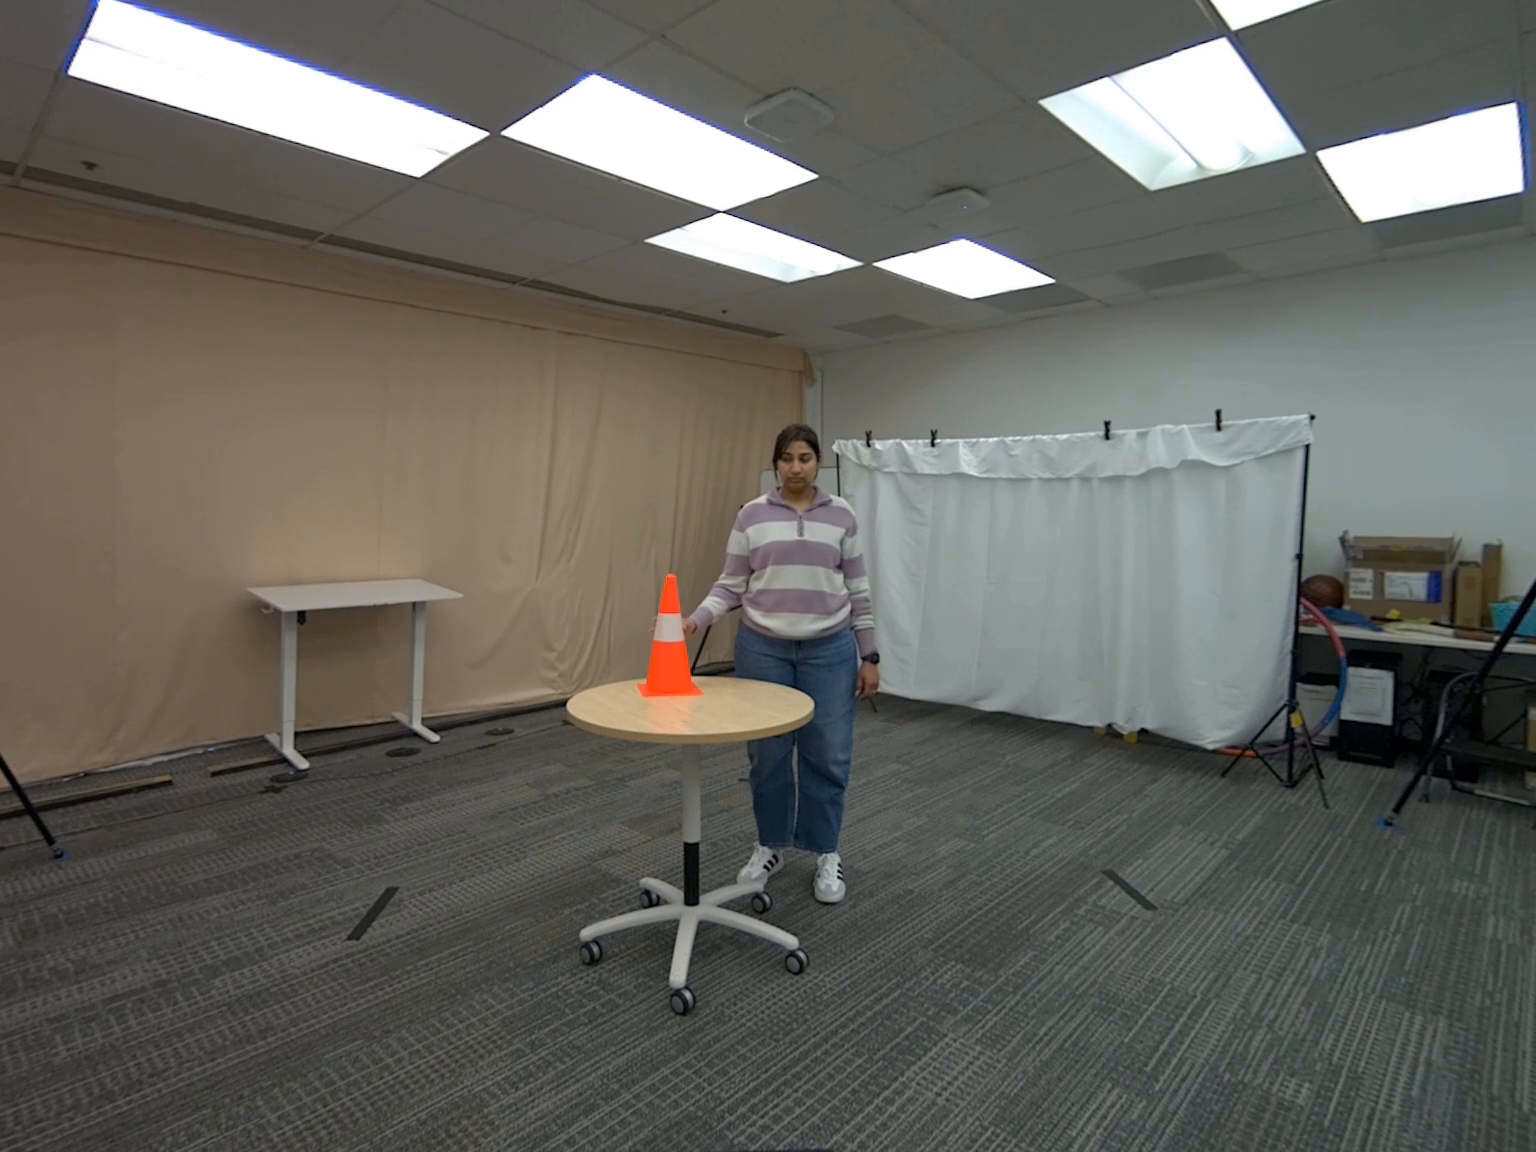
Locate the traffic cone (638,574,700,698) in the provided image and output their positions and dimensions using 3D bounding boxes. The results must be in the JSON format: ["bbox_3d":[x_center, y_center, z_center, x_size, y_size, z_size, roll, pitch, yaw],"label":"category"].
[{"bbox_3d":[-0.326,0.193,2.788,0.201,0.383,0.208,0,0,-13],"label":"traffic cone"}]
